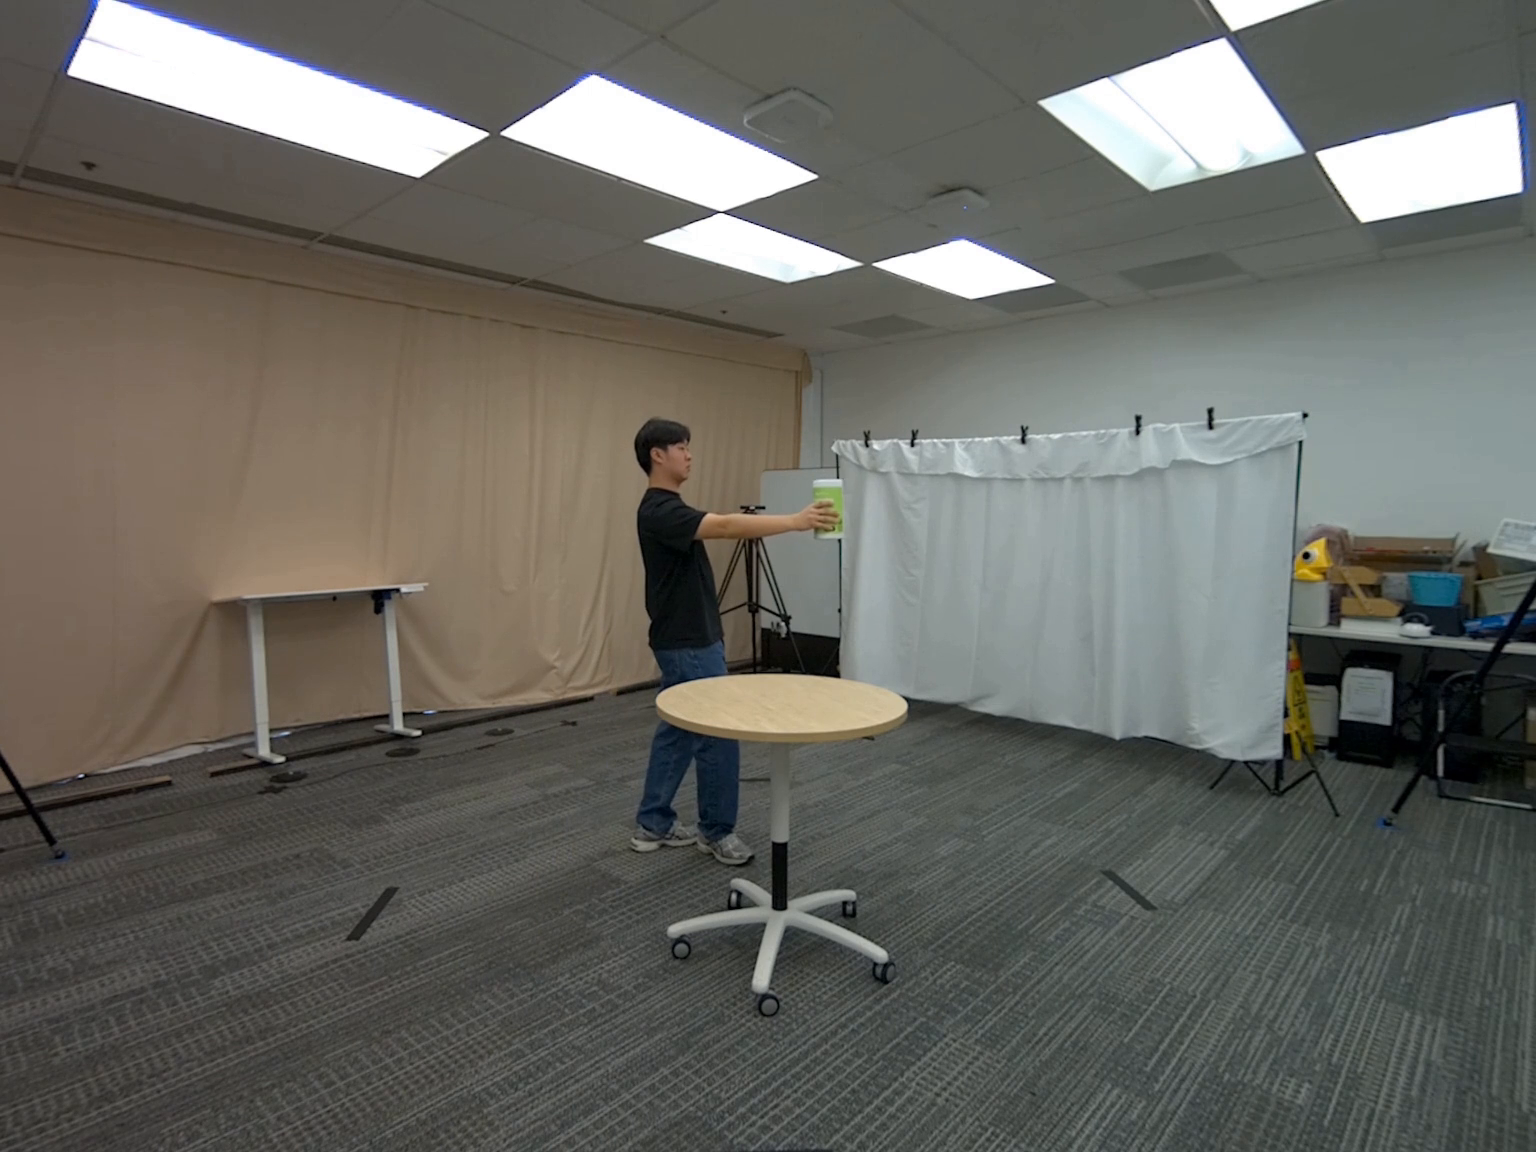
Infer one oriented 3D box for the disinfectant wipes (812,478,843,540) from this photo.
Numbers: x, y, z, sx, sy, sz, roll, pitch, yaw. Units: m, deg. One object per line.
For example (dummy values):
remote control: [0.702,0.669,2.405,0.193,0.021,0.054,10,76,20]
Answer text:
disinfectant wipes: [0.225,-0.245,3.061,0.118,0.217,0.118,-2,4,-2]
